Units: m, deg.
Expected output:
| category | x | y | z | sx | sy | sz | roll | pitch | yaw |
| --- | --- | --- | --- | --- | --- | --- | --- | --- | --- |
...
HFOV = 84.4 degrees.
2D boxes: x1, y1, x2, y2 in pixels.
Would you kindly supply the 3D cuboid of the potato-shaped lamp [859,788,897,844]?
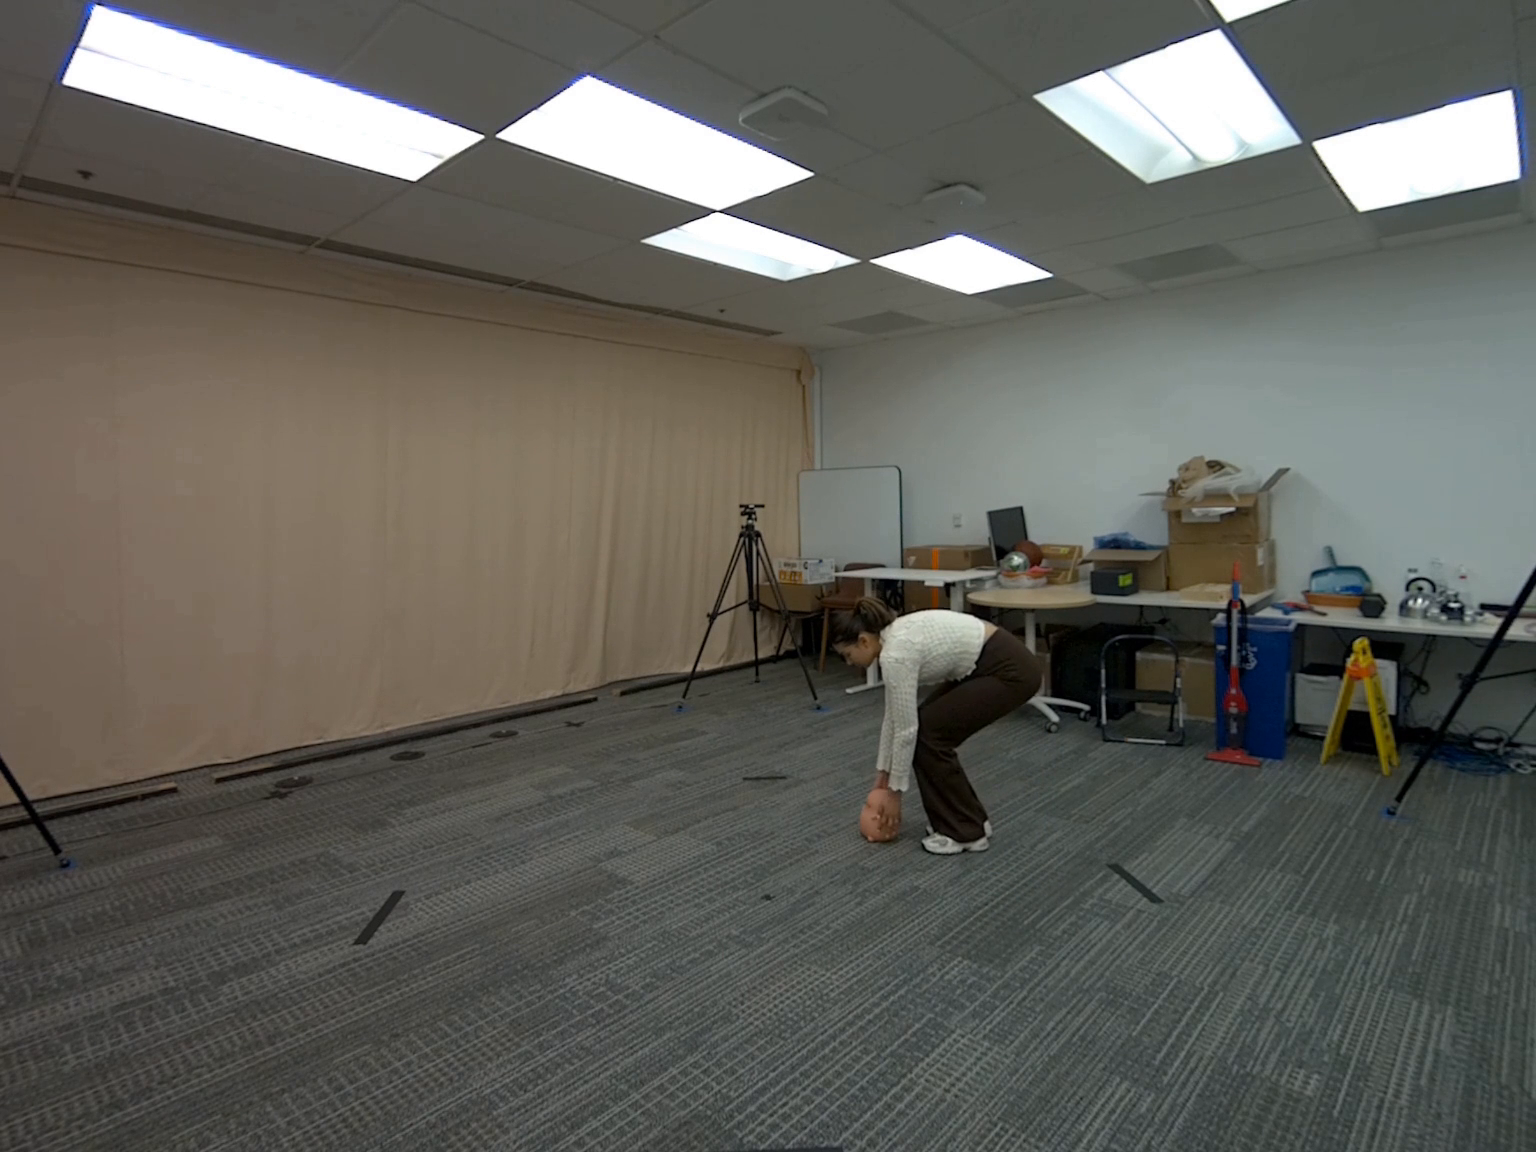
| category | x | y | z | sx | sy | sz | roll | pitch | yaw |
| --- | --- | --- | --- | --- | --- | --- | --- | --- | --- |
| potato-shaped lamp | 0.468 | 0.983 | 3.507 | 0.169 | 0.198 | 0.167 | -1 | 3 | -11 |
